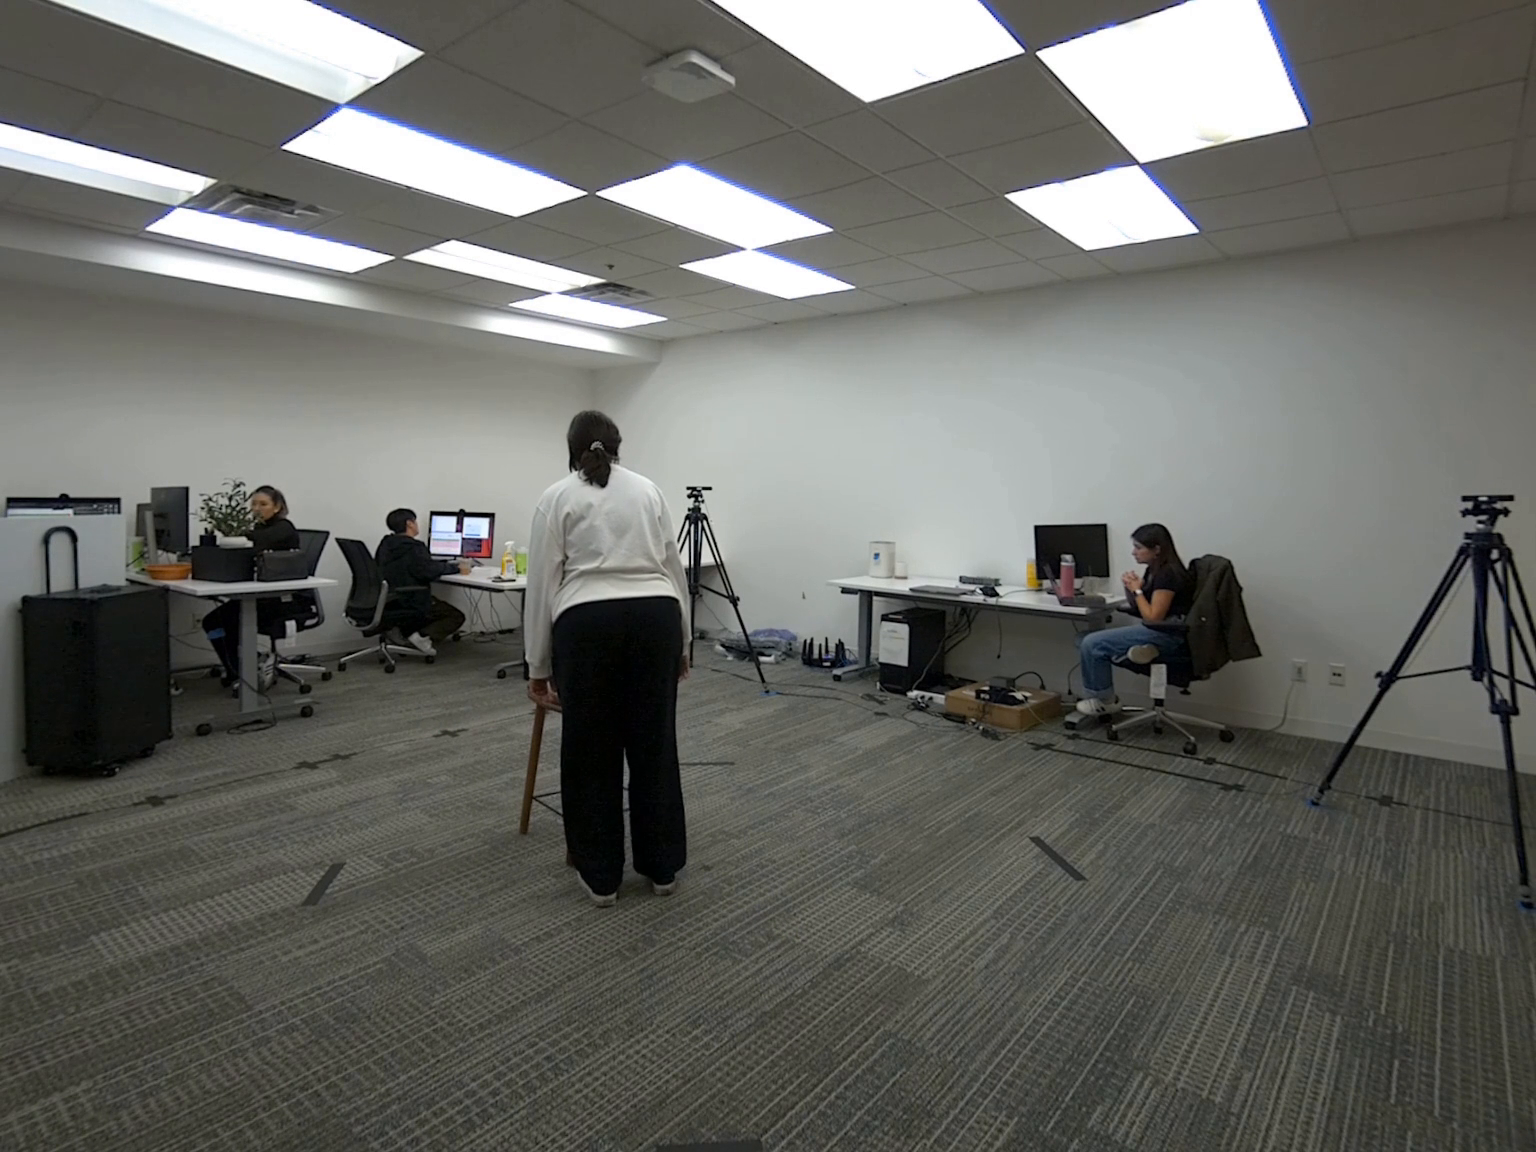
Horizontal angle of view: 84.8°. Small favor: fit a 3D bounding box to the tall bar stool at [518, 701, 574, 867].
[{"bbox_3d":[-0.680,0.594,3.375,0.453,0.888,0.472,1,3,-41],"label":"tall bar stool"}]
